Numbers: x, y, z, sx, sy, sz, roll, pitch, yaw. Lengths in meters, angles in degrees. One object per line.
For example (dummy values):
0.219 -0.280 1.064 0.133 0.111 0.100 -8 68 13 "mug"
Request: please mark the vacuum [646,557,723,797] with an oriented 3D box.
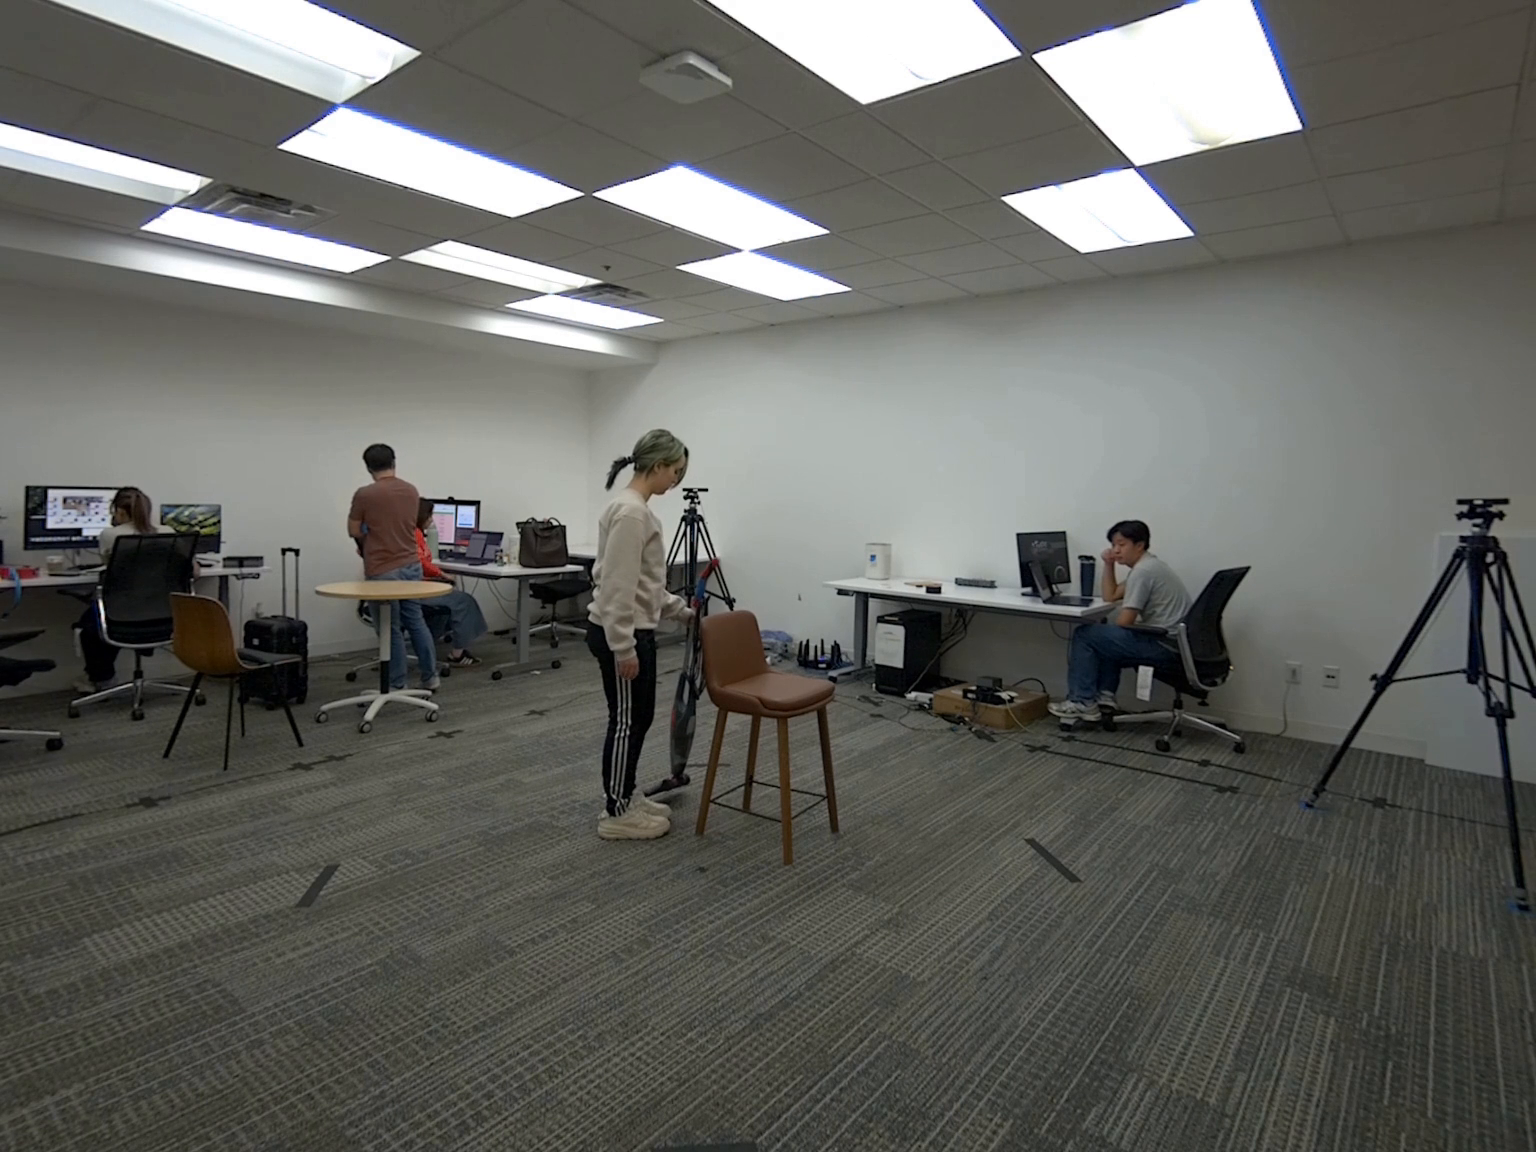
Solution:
-0.350 0.447 3.700 0.148 1.043 0.246 15 8 26 "vacuum"
